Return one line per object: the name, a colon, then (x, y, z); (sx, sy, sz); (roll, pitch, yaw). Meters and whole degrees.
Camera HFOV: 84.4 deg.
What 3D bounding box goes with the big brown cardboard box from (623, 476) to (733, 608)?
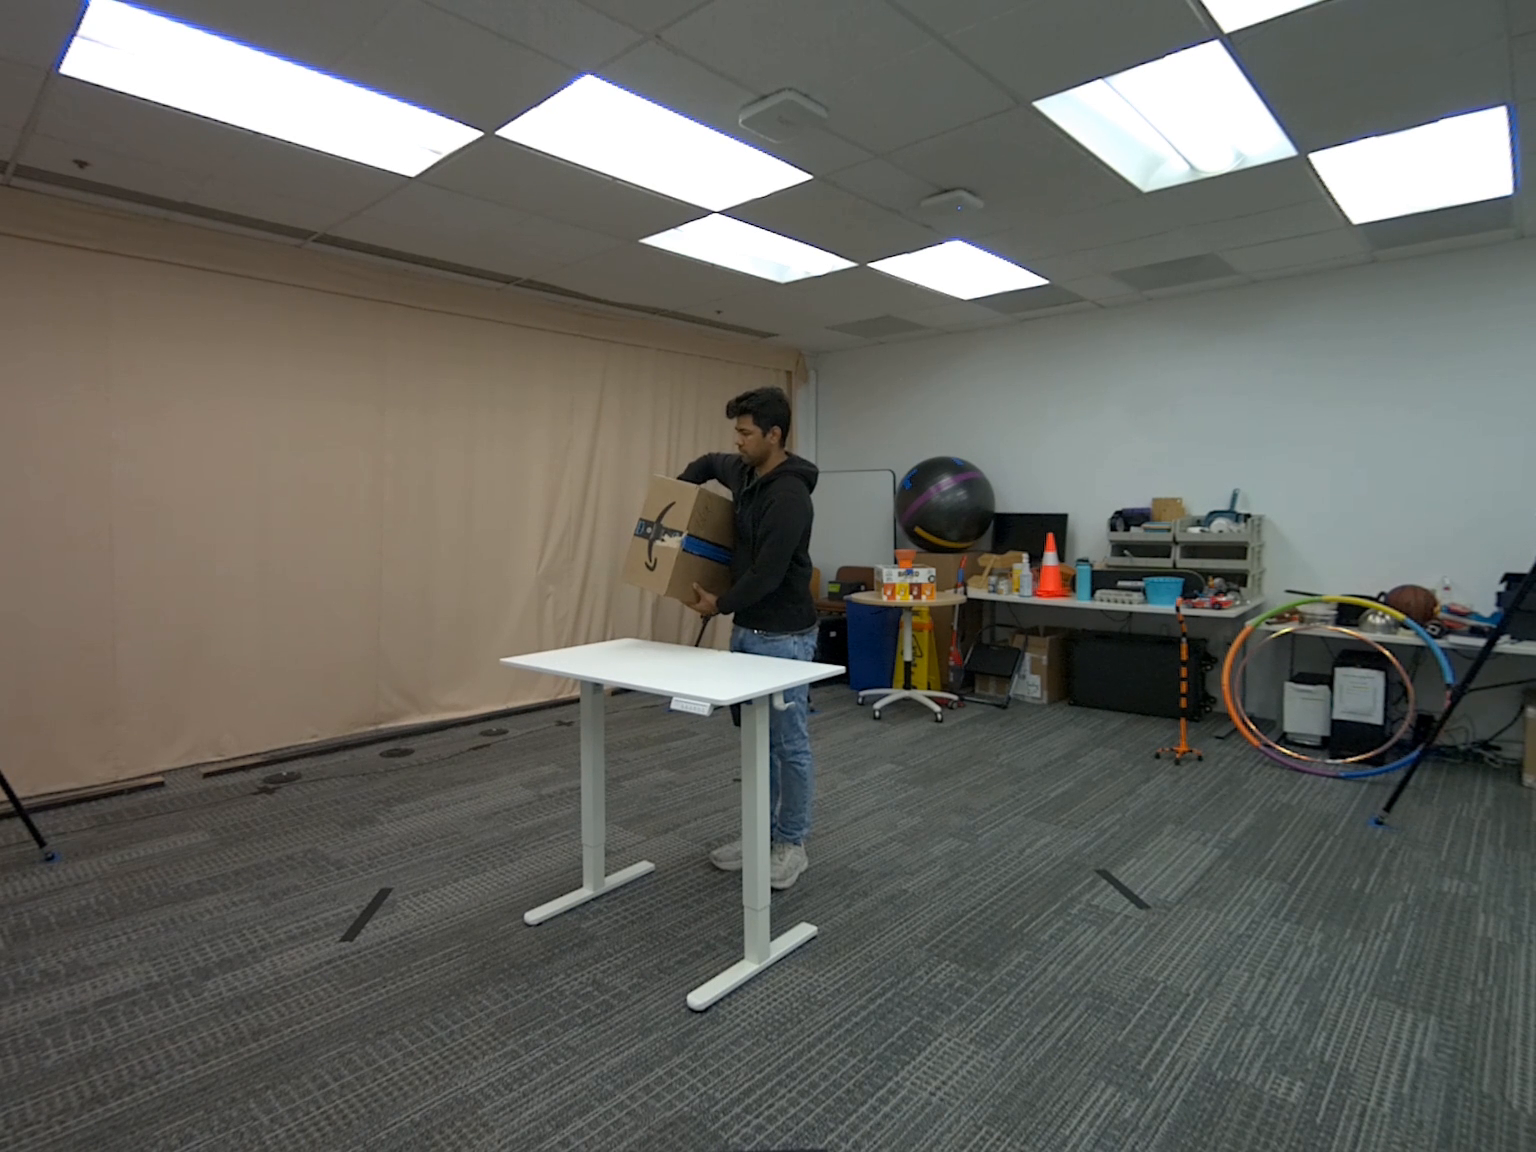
big brown cardboard box: (-0.273, -0.109, 3.302); (0.240, 0.418, 0.570); (16, -1, 29)
